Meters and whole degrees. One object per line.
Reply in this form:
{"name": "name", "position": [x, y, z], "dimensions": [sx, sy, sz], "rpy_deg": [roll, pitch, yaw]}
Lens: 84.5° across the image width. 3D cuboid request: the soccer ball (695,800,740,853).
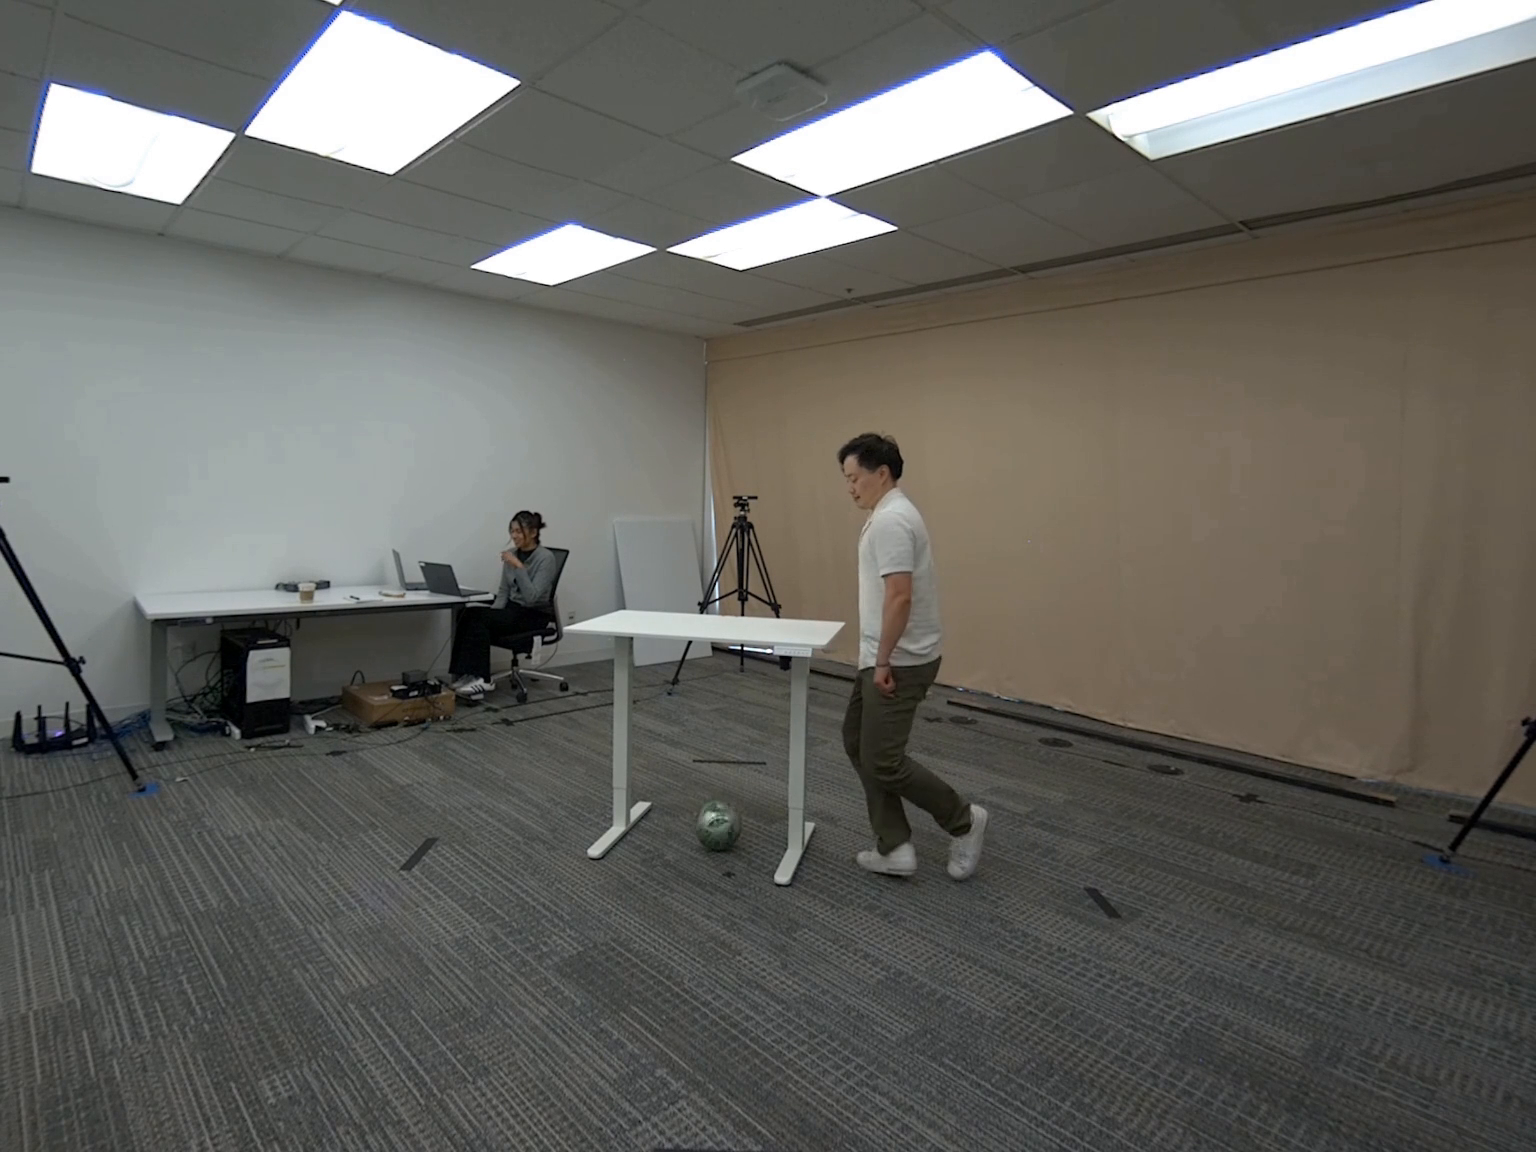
{"name": "soccer ball", "position": [-0.205, 0.978, 3.329], "dimensions": [0.187, 0.187, 0.188], "rpy_deg": [1, 4, -1]}
